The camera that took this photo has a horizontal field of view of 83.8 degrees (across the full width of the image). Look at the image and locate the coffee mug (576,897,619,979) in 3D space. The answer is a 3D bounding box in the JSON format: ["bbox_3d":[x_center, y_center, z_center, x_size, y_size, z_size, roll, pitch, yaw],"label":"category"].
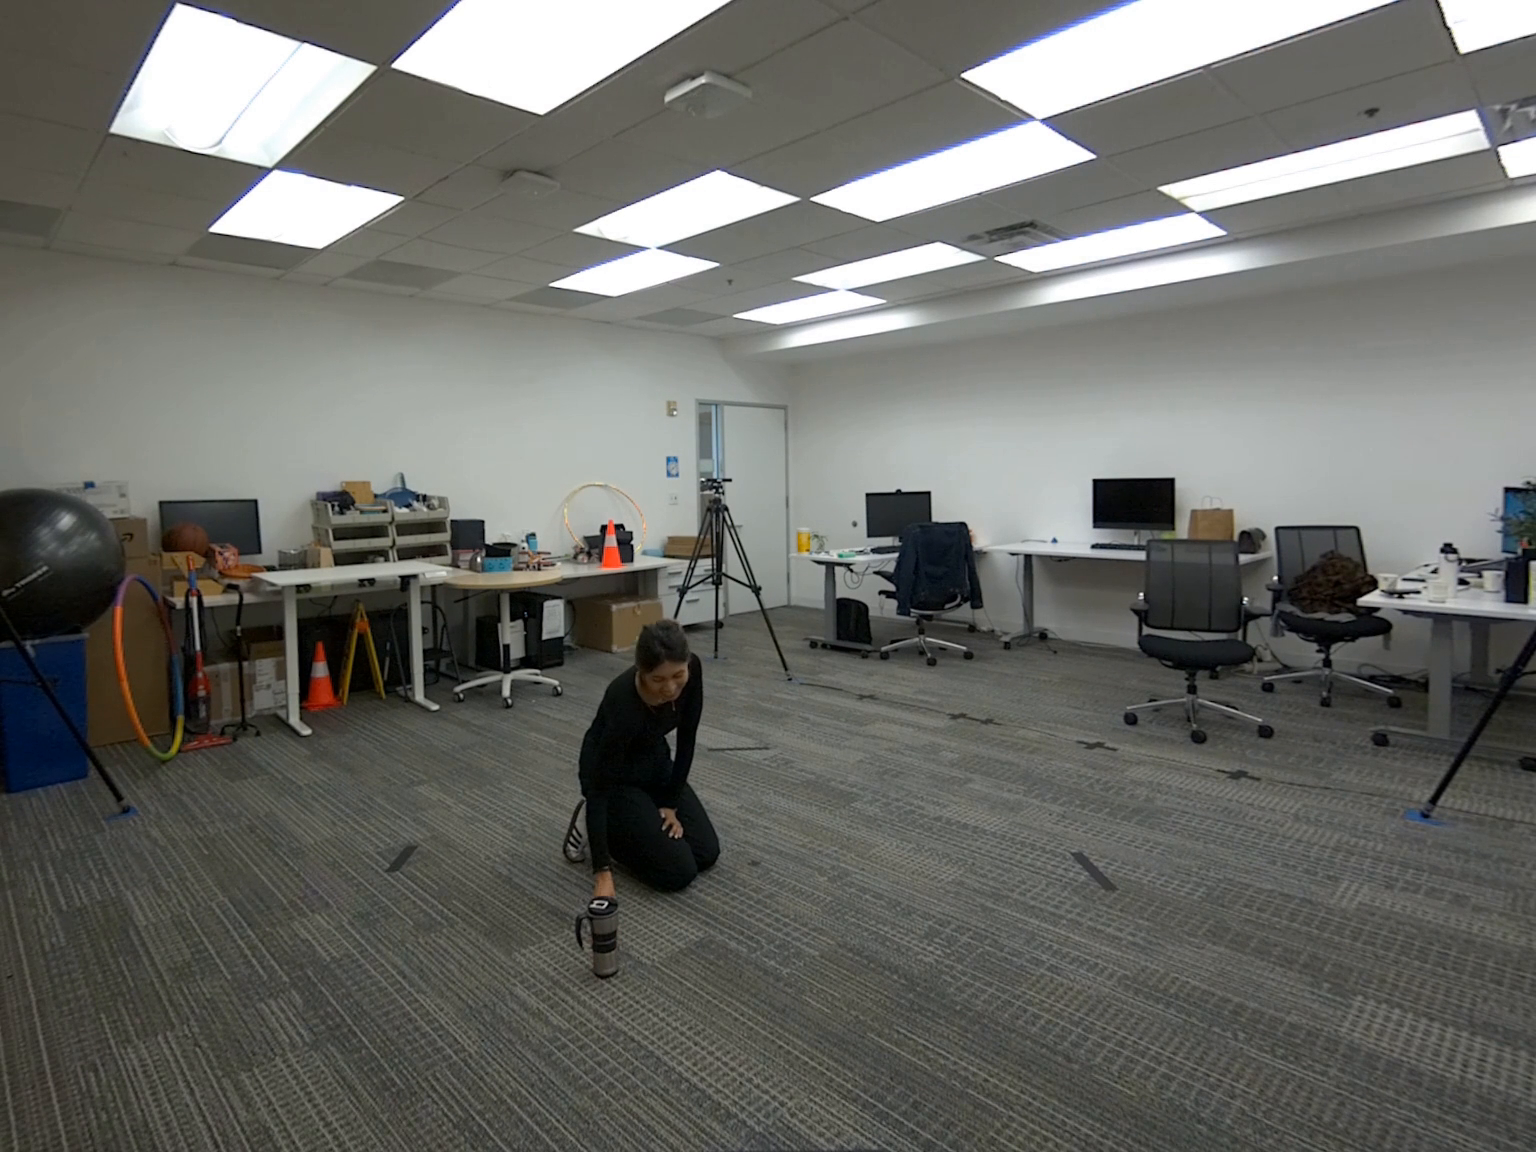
[{"bbox_3d":[-0.488,1.039,2.432,0.121,0.202,0.089,-1,6,-9],"label":"coffee mug"}]
